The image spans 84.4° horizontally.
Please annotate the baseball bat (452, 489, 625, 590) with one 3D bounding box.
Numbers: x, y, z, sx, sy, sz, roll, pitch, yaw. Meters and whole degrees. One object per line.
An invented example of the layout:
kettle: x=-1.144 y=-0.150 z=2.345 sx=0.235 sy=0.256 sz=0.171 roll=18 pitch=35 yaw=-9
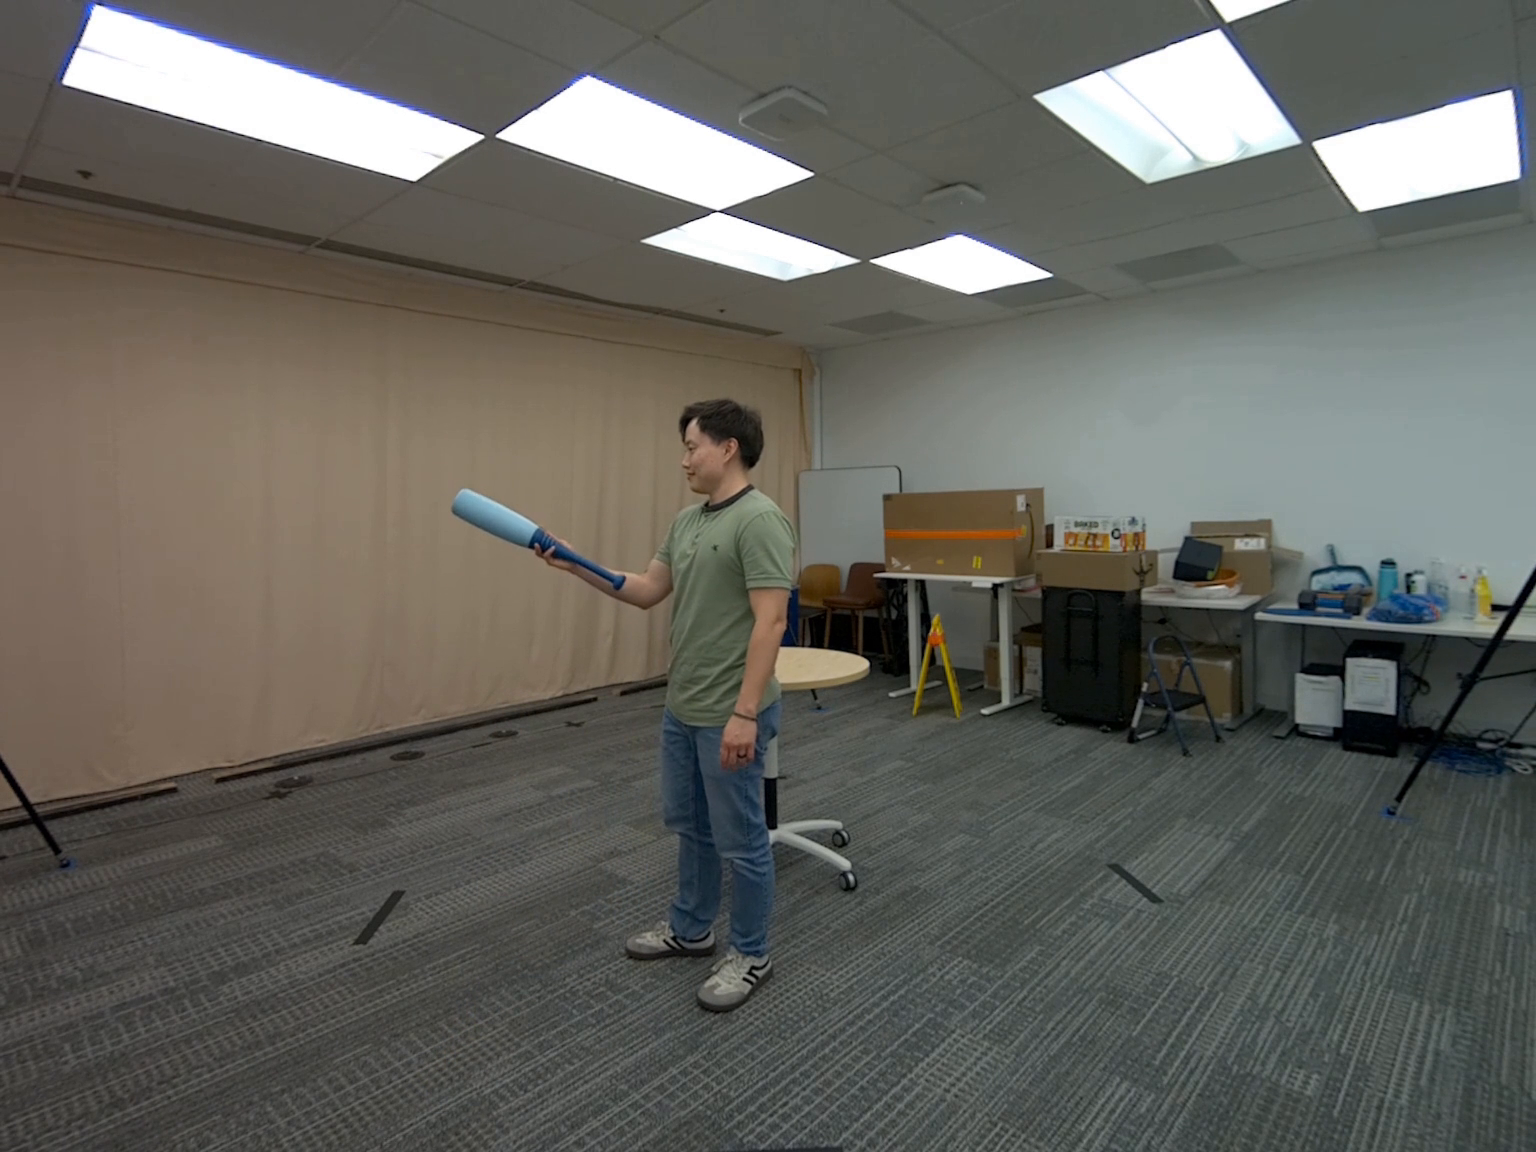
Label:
baseball bat: x=-0.655 y=-0.100 z=2.441 sx=0.543 sy=0.089 sz=0.089 roll=28 pitch=3 yaw=0
